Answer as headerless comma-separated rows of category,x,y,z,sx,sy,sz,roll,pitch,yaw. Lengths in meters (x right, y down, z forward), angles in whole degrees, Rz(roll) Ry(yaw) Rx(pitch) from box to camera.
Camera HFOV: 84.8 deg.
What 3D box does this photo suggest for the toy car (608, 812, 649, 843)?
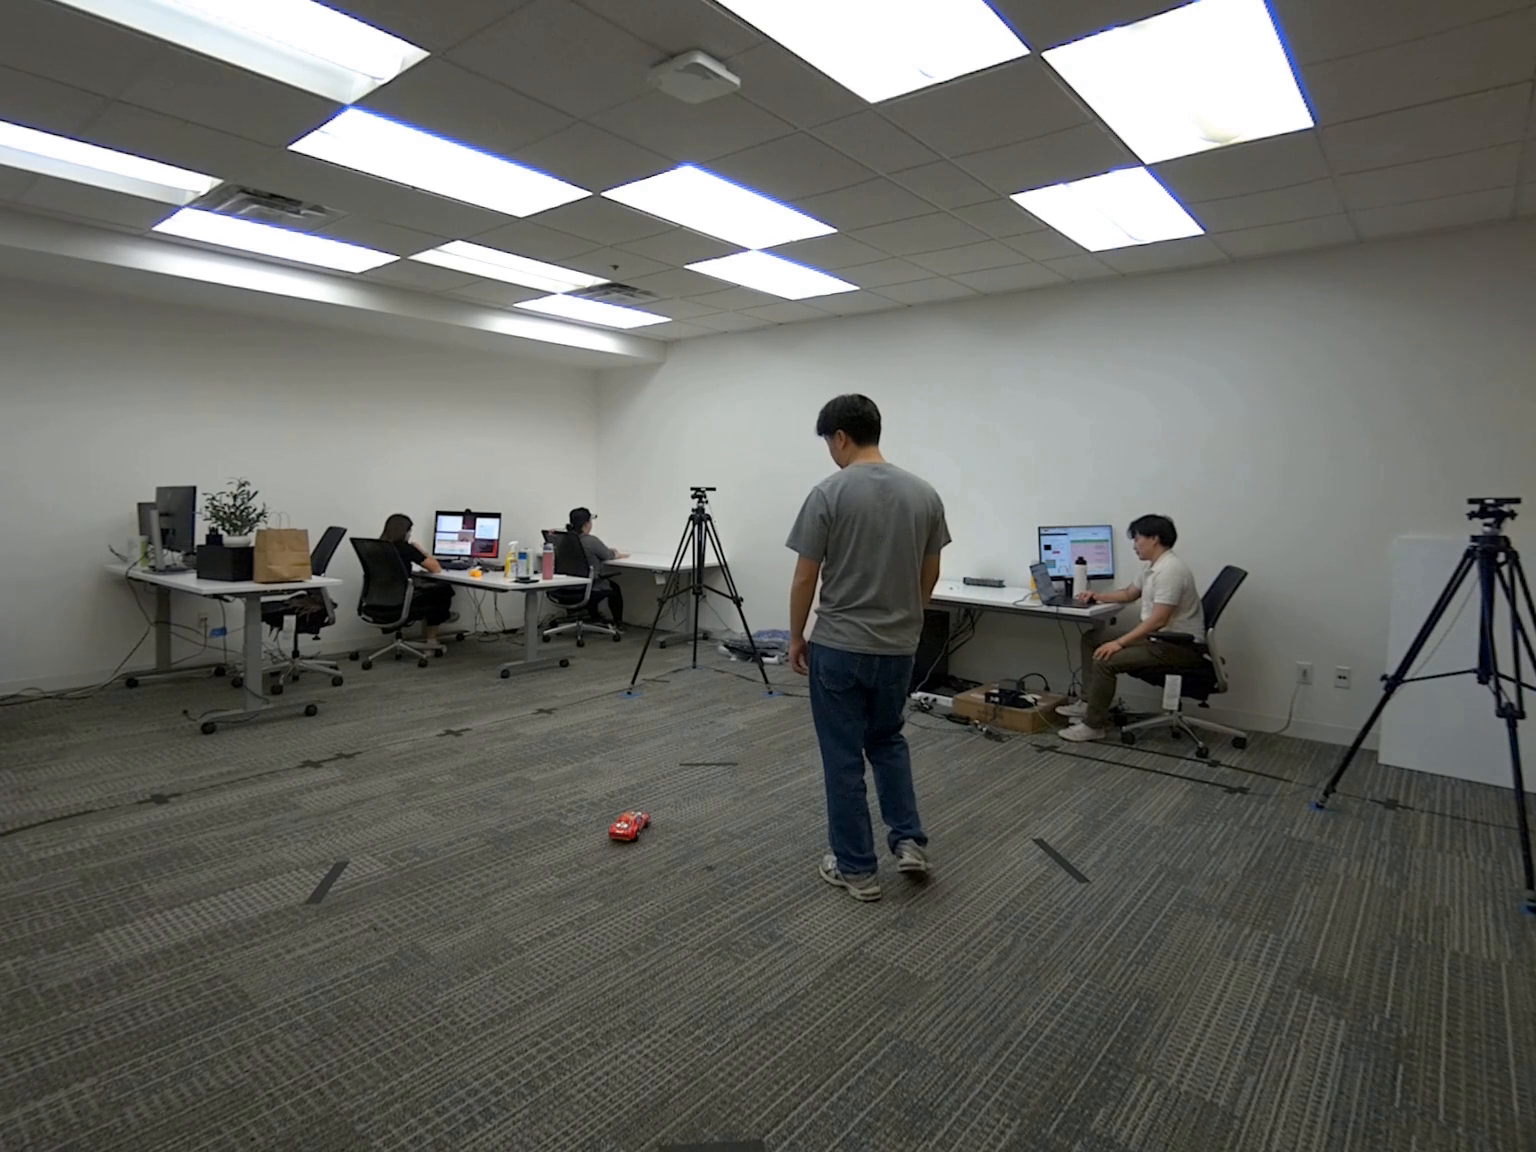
toy car,-0.570,0.999,3.402,0.132,0.084,0.249,2,-6,11
